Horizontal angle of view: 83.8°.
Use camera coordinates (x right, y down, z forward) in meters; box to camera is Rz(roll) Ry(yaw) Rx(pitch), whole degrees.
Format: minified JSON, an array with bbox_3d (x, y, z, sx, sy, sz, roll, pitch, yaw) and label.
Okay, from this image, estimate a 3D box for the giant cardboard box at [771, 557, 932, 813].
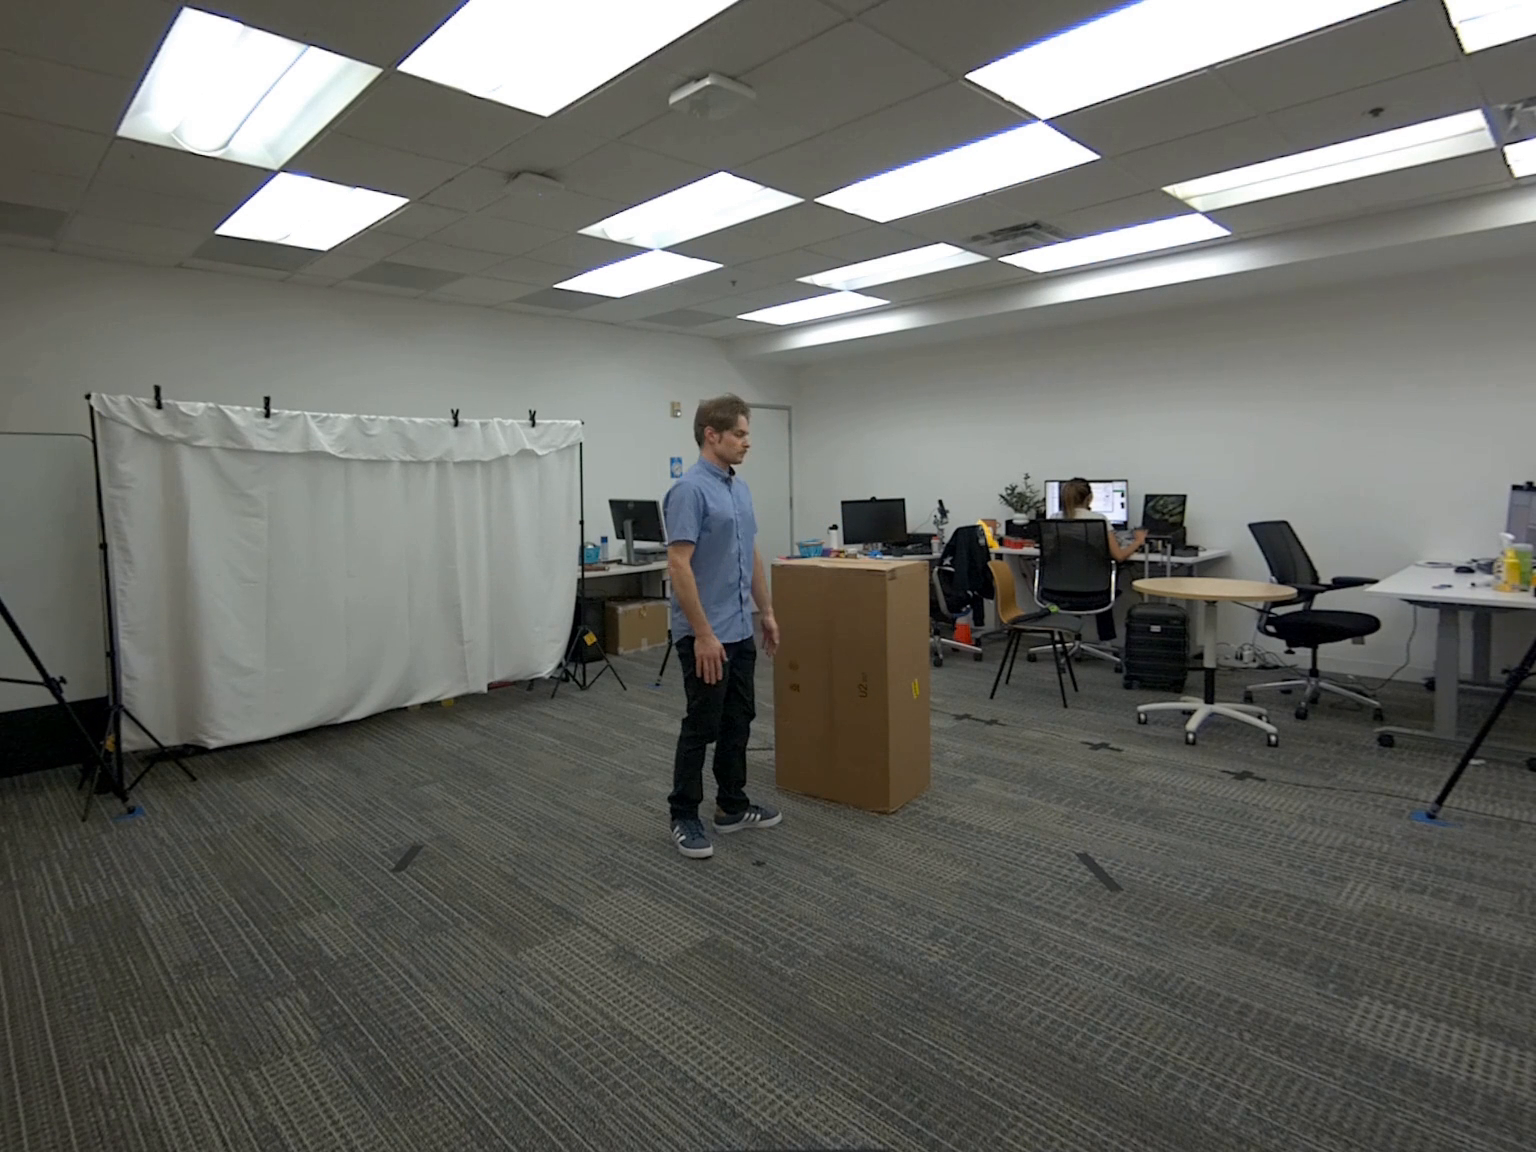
[{"bbox_3d":[0.377,0.447,3.853,0.594,1.022,0.415,2,4,36],"label":"giant cardboard box"}]
